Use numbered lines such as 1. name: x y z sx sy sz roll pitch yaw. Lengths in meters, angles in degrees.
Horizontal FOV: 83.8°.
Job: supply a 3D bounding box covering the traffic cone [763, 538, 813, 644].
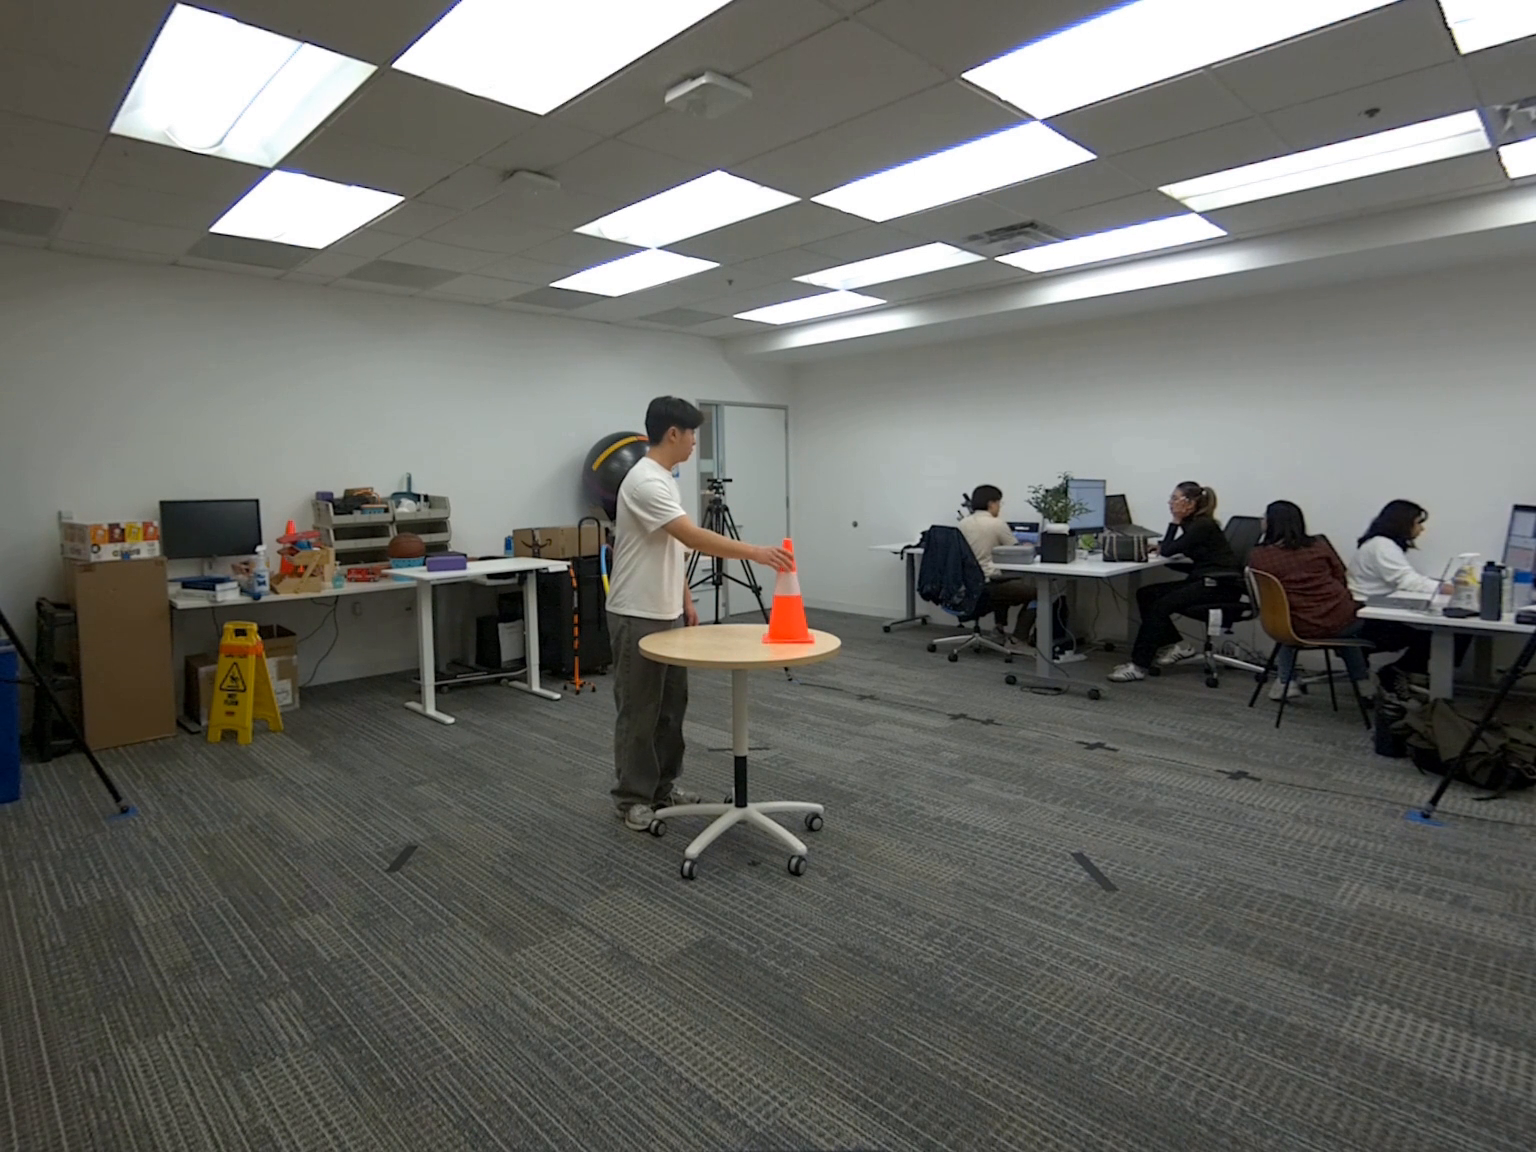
1. traffic cone: 0.071 0.040 3.294 0.204 0.383 0.205 -1 3 2
